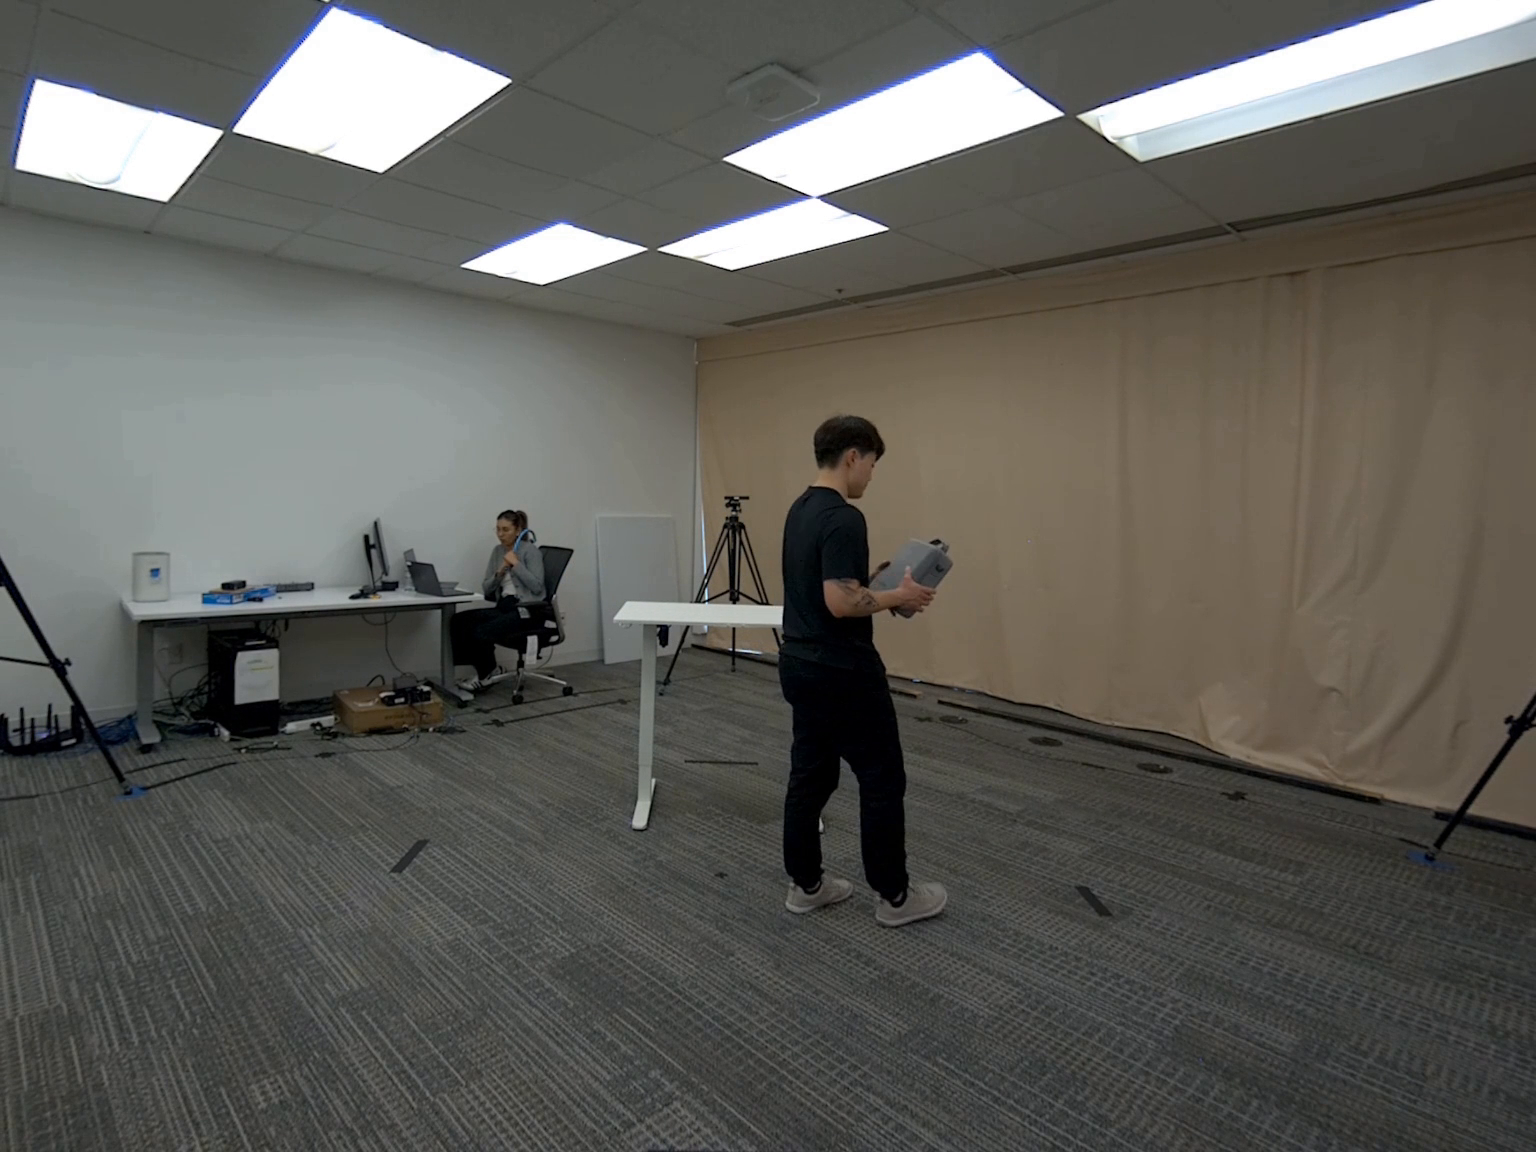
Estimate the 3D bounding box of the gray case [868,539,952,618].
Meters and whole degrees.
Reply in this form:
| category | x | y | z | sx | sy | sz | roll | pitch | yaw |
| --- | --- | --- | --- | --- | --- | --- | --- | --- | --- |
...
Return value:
| category | x | y | z | sx | sy | sz | roll | pitch | yaw |
| --- | --- | --- | --- | --- | --- | --- | --- | --- | --- |
| gray case | 0.471 | 0.005 | 2.839 | 0.103 | 0.260 | 0.261 | 39 | 5 | -15 |
